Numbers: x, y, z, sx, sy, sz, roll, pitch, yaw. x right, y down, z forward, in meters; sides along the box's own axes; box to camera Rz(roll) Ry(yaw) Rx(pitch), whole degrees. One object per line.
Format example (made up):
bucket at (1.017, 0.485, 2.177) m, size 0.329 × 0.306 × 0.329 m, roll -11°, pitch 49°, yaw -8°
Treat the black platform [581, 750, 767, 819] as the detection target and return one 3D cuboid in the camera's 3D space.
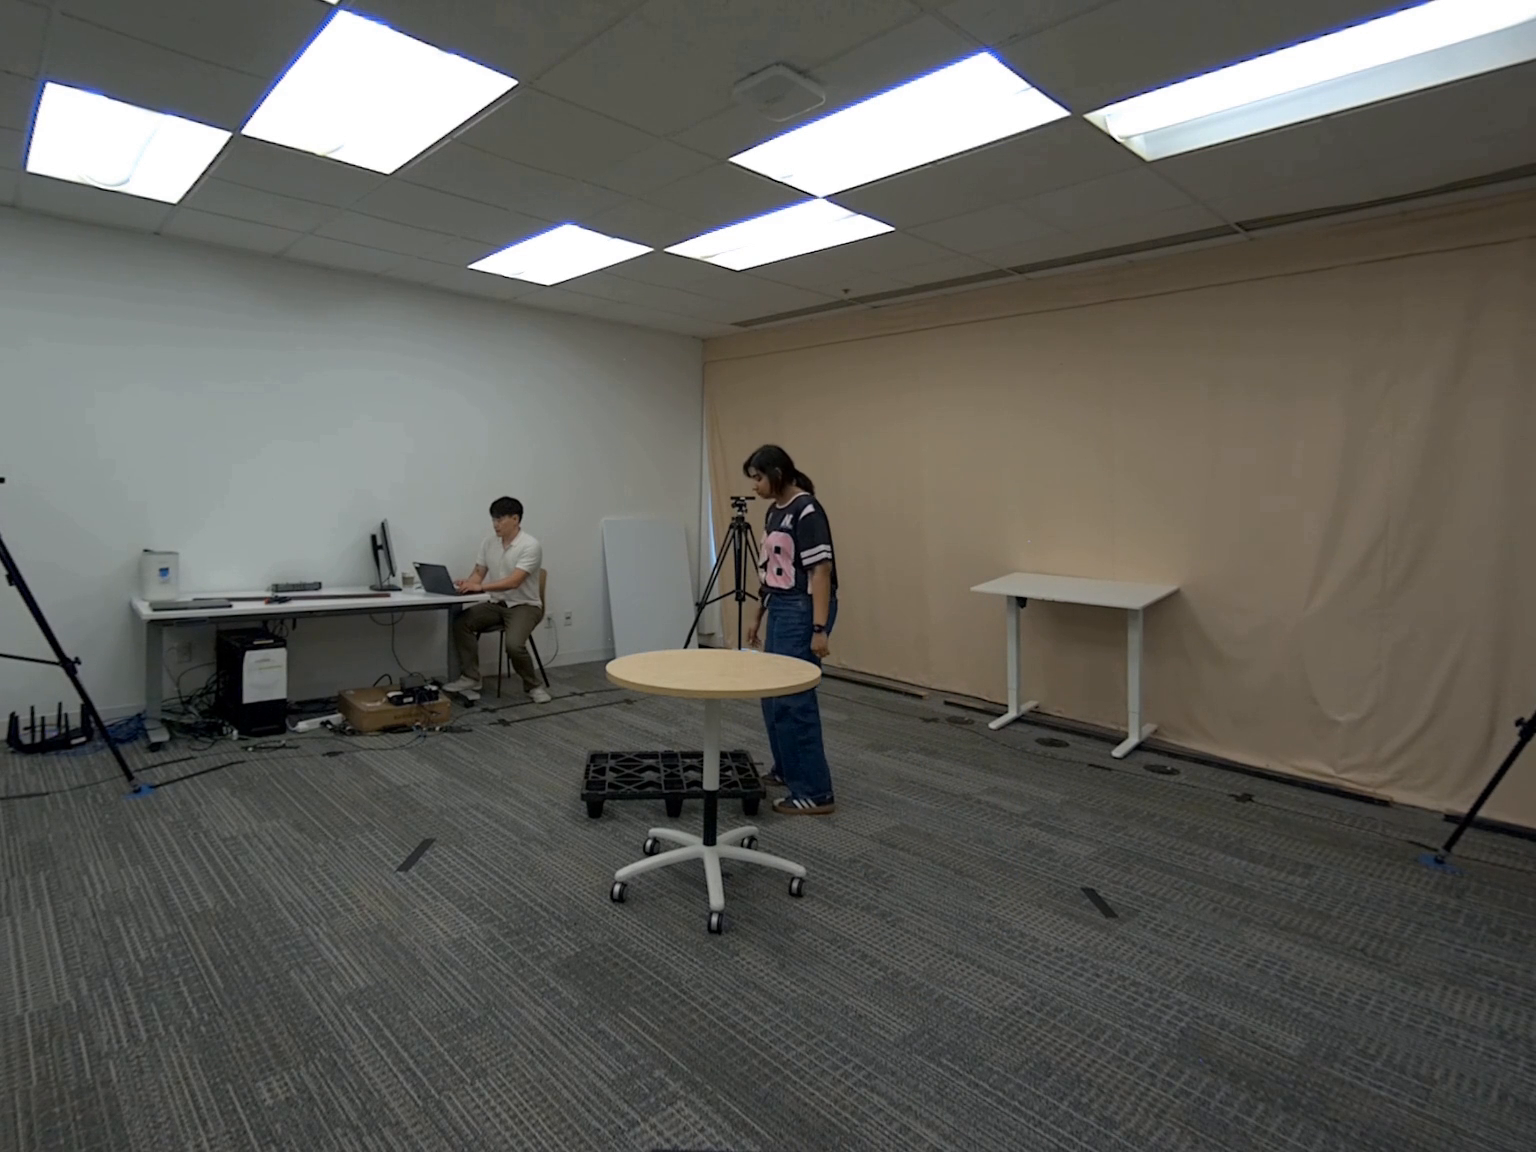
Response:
black platform at (-0.452, 0.962, 3.889) m, size 0.801 × 0.143 × 0.611 m, roll 1°, pitch 5°, yaw -8°
